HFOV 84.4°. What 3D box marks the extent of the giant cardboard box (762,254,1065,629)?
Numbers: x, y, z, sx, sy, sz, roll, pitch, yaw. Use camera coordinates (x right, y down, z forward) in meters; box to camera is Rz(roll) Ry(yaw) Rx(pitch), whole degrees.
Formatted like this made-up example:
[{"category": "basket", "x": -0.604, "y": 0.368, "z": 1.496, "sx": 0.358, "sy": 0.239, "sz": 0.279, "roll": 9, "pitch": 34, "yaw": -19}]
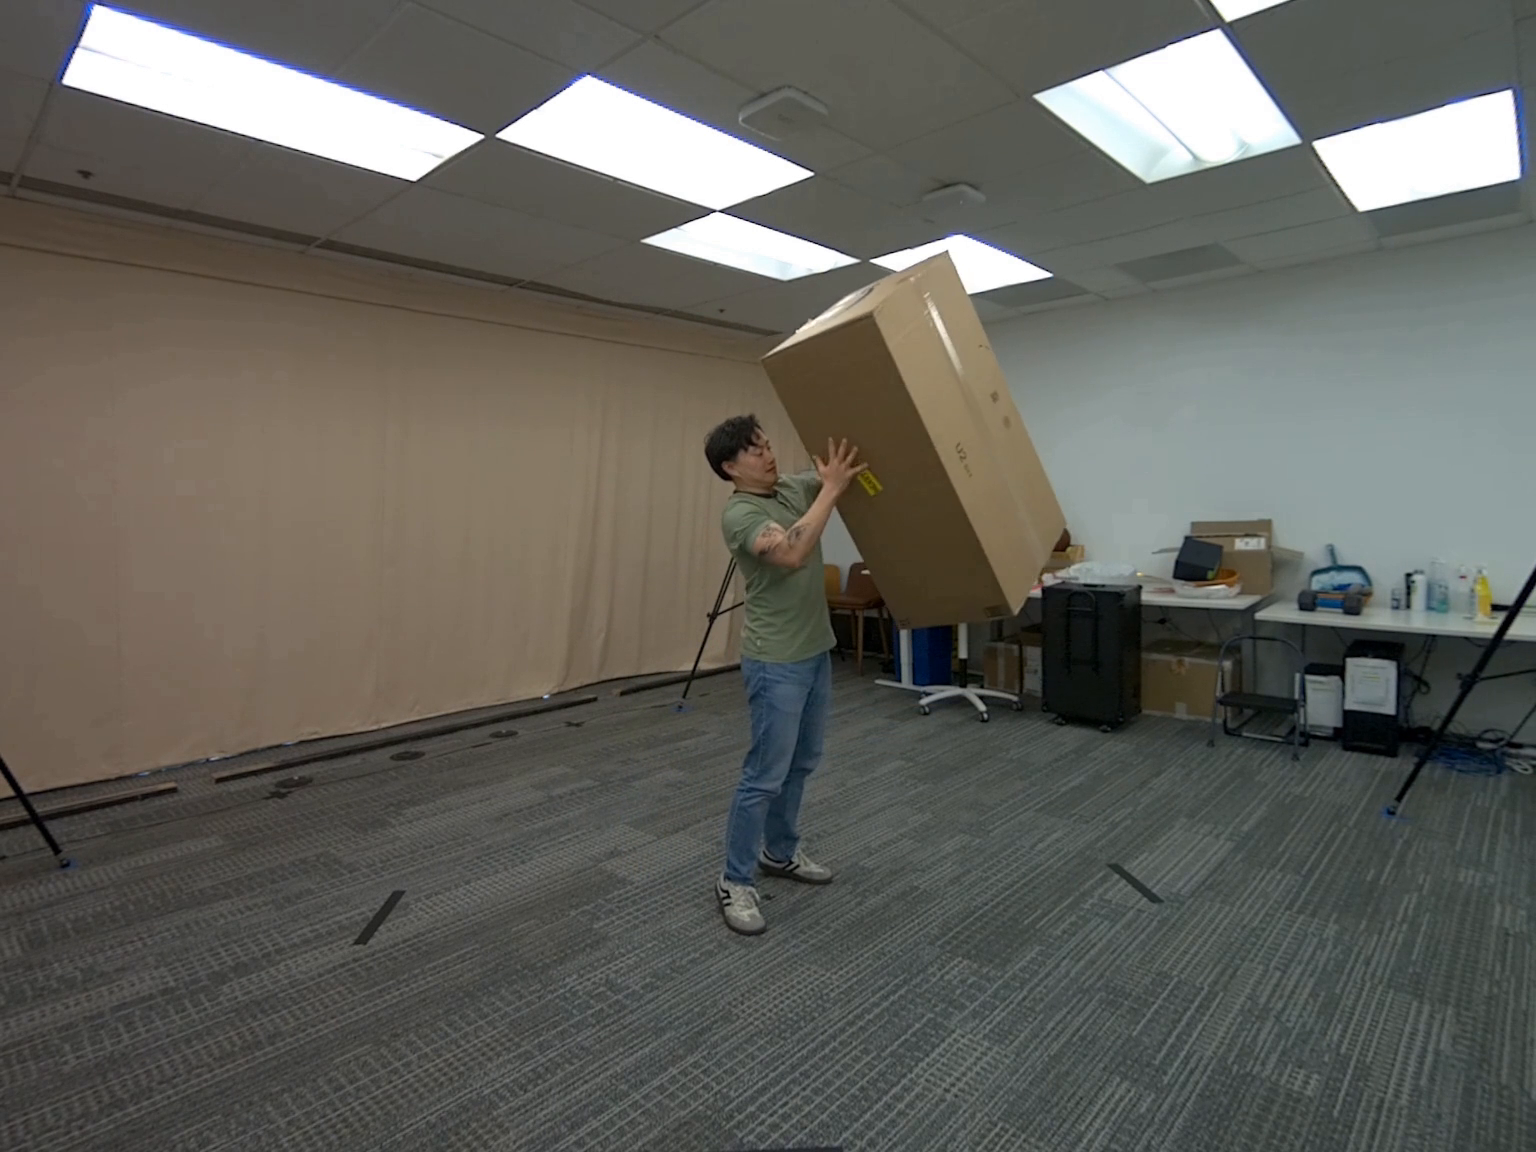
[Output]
[{"category": "giant cardboard box", "x": 0.510, "y": -0.384, "z": 2.743, "sx": 0.438, "sy": 1.009, "sz": 0.571, "roll": -13, "pitch": 22, "yaw": 44}]
